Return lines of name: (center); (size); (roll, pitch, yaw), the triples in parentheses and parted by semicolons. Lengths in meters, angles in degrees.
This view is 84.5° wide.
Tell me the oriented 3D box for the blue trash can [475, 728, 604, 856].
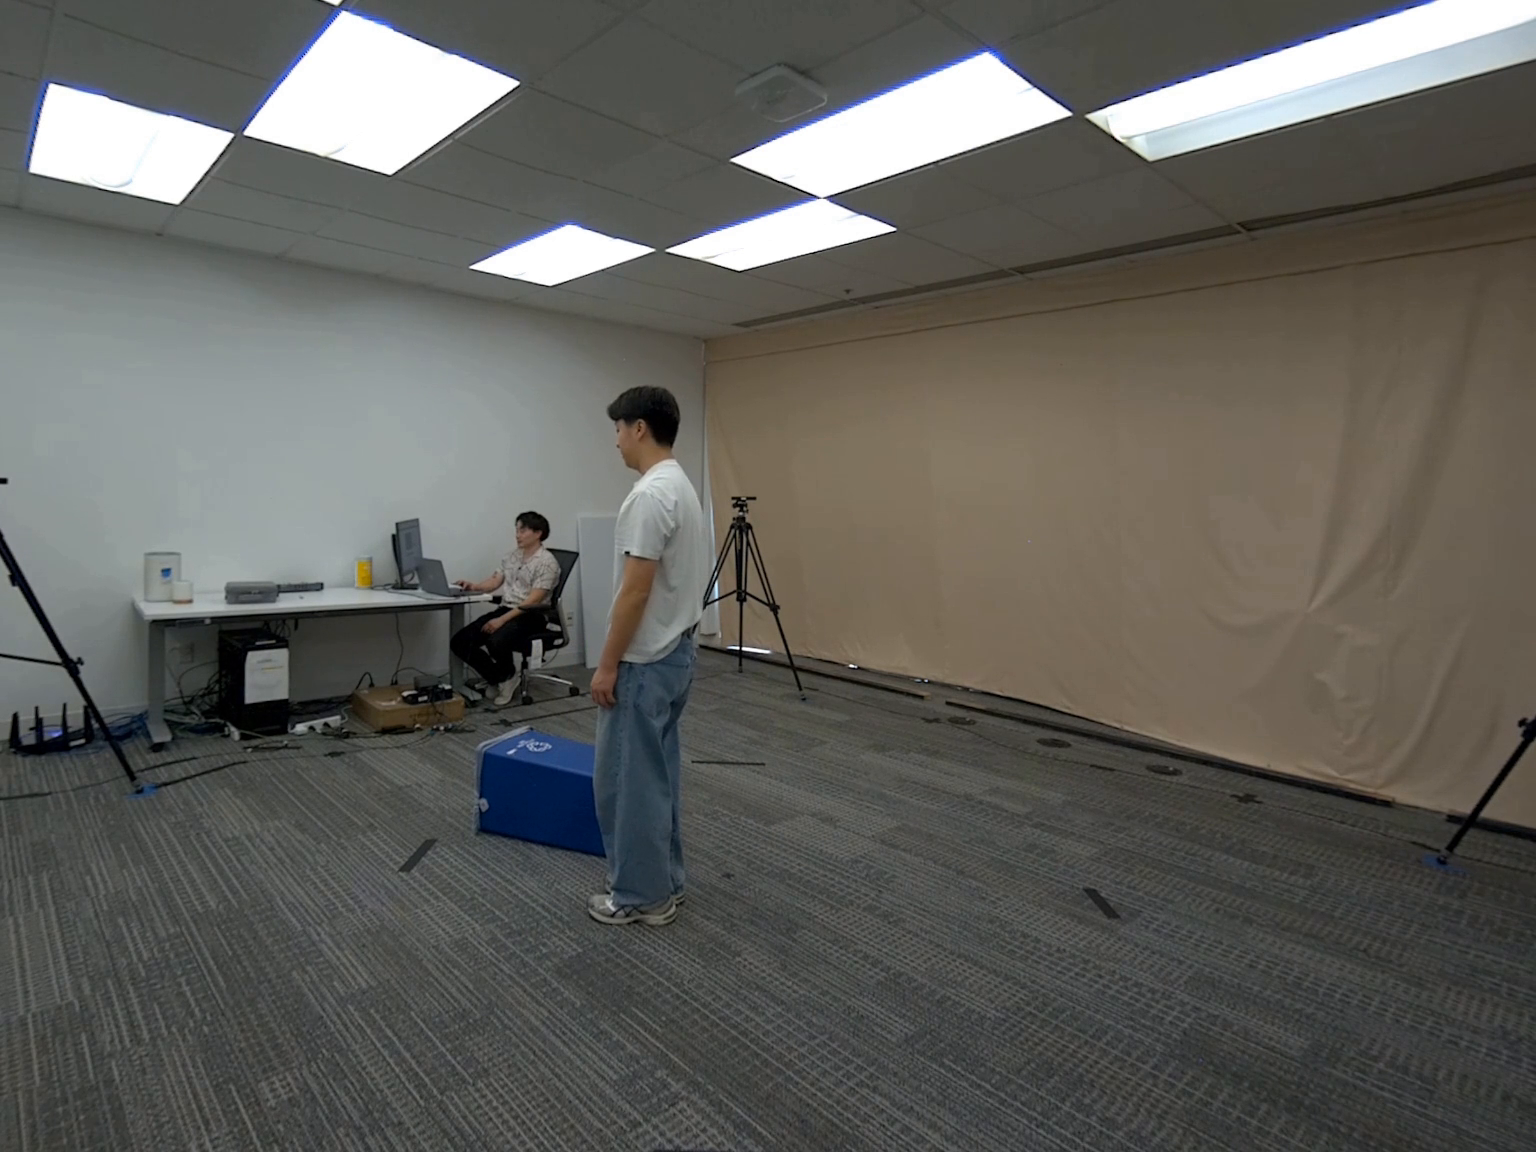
blue trash can: (-0.805, 0.894, 3.453); (0.726, 0.377, 0.369); (6, 5, 21)
